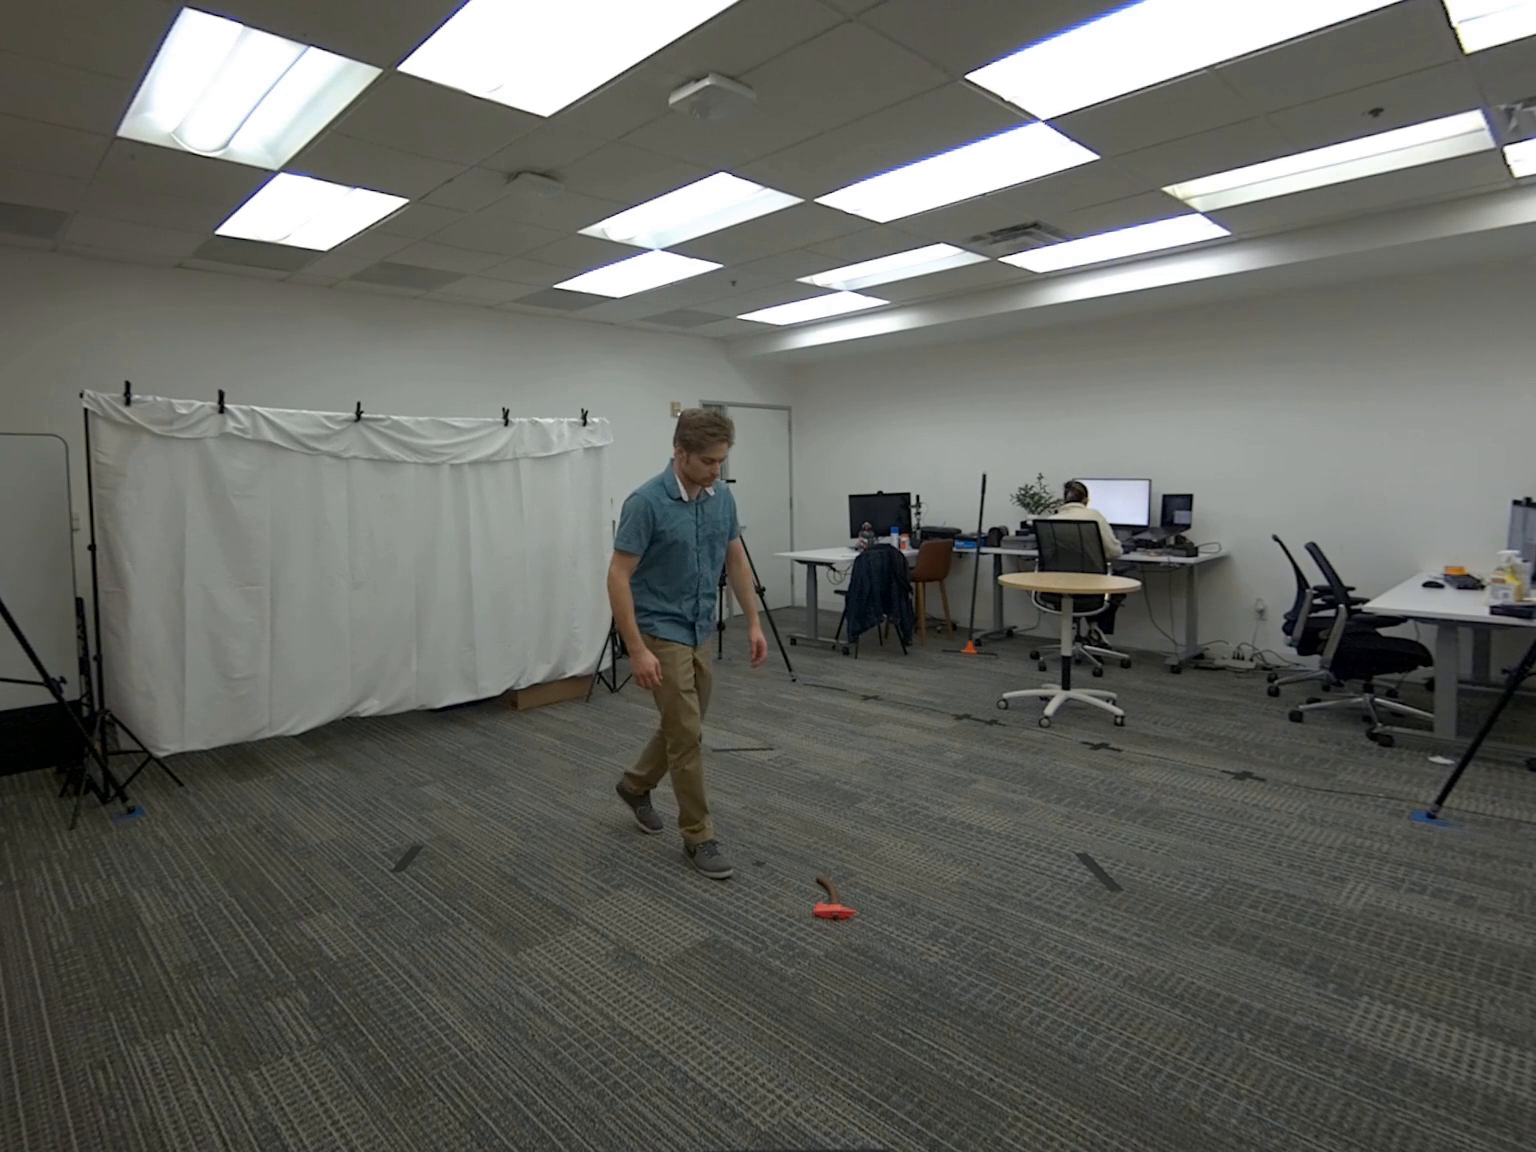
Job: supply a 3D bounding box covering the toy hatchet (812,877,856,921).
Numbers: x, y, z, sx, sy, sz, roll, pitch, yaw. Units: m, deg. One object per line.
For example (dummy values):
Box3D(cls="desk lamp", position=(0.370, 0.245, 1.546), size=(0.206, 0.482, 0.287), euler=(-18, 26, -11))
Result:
Box3D(cls="toy hatchet", position=(0.183, 1.067, 2.824), size=(0.129, 0.029, 0.275), euler=(-5, 5, -17))
